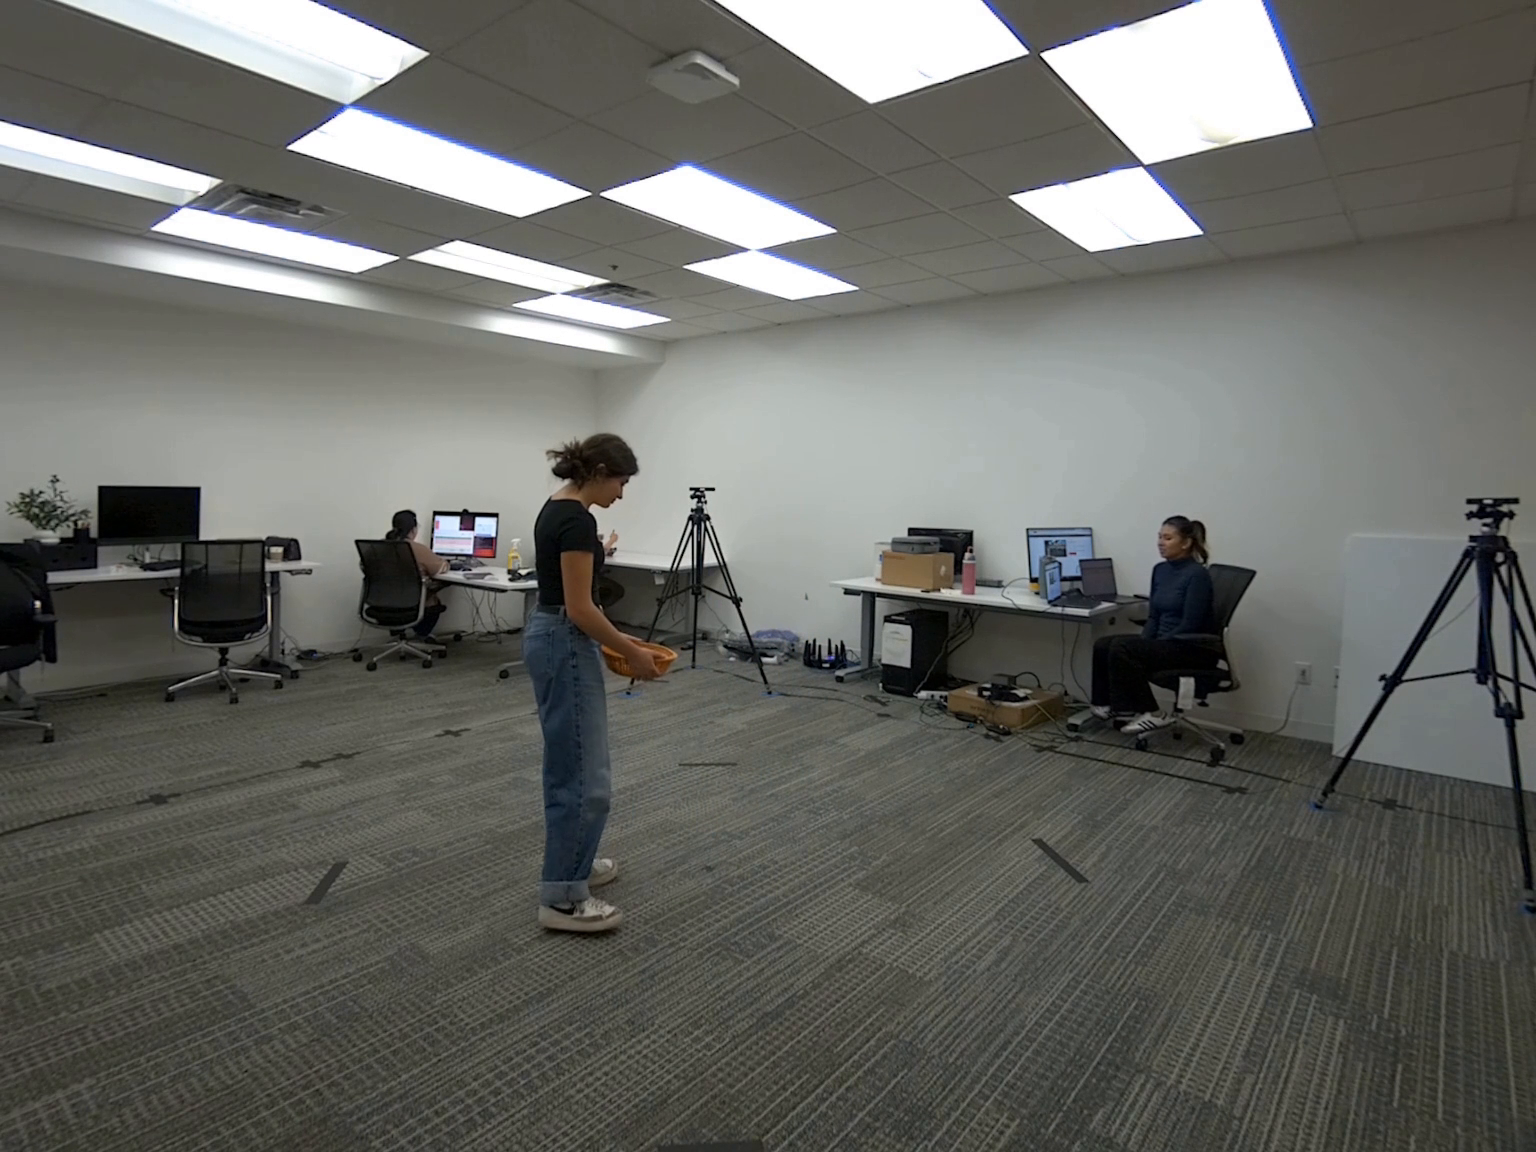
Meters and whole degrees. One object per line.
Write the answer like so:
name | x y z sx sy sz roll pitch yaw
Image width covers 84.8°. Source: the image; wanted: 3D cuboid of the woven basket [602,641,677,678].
woven basket | -0.473 0.292 2.947 0.247 0.073 0.359 1 6 -20
